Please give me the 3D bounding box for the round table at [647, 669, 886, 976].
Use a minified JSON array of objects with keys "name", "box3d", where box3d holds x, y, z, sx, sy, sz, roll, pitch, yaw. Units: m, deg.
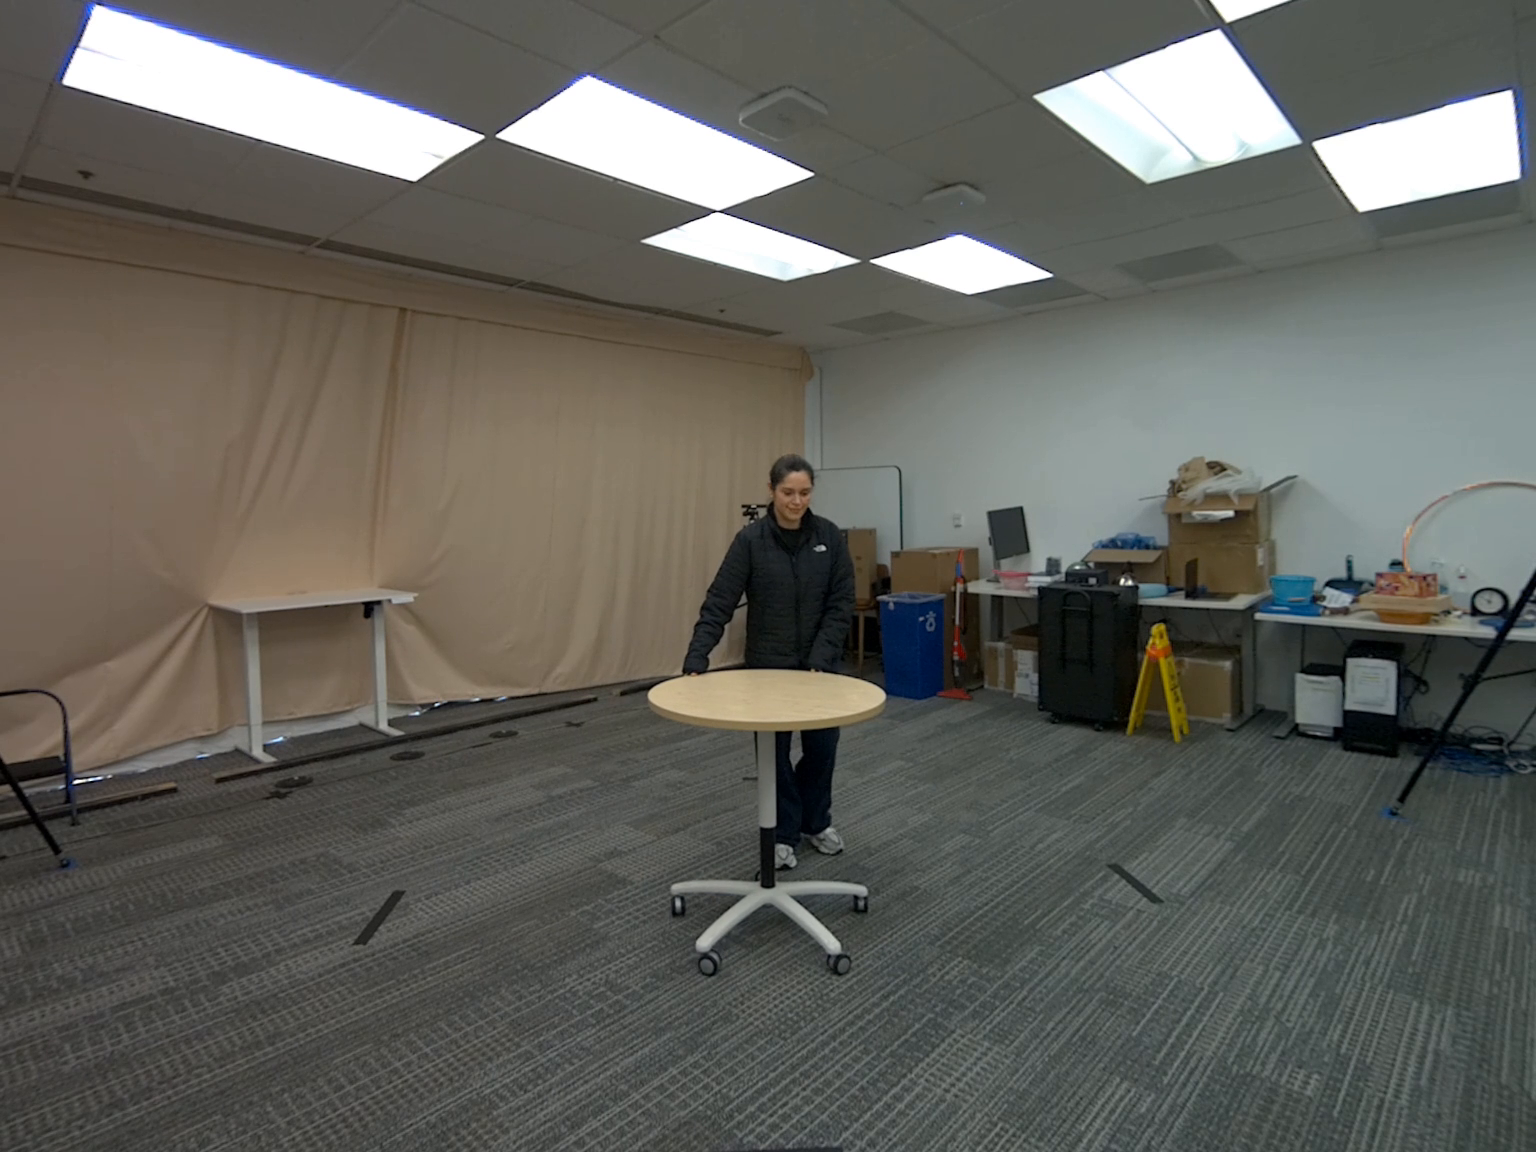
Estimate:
[{"name":"round table","box3d":[0.016,0.763,2.756,0.784,0.785,0.788,-1,4,-2]}]
